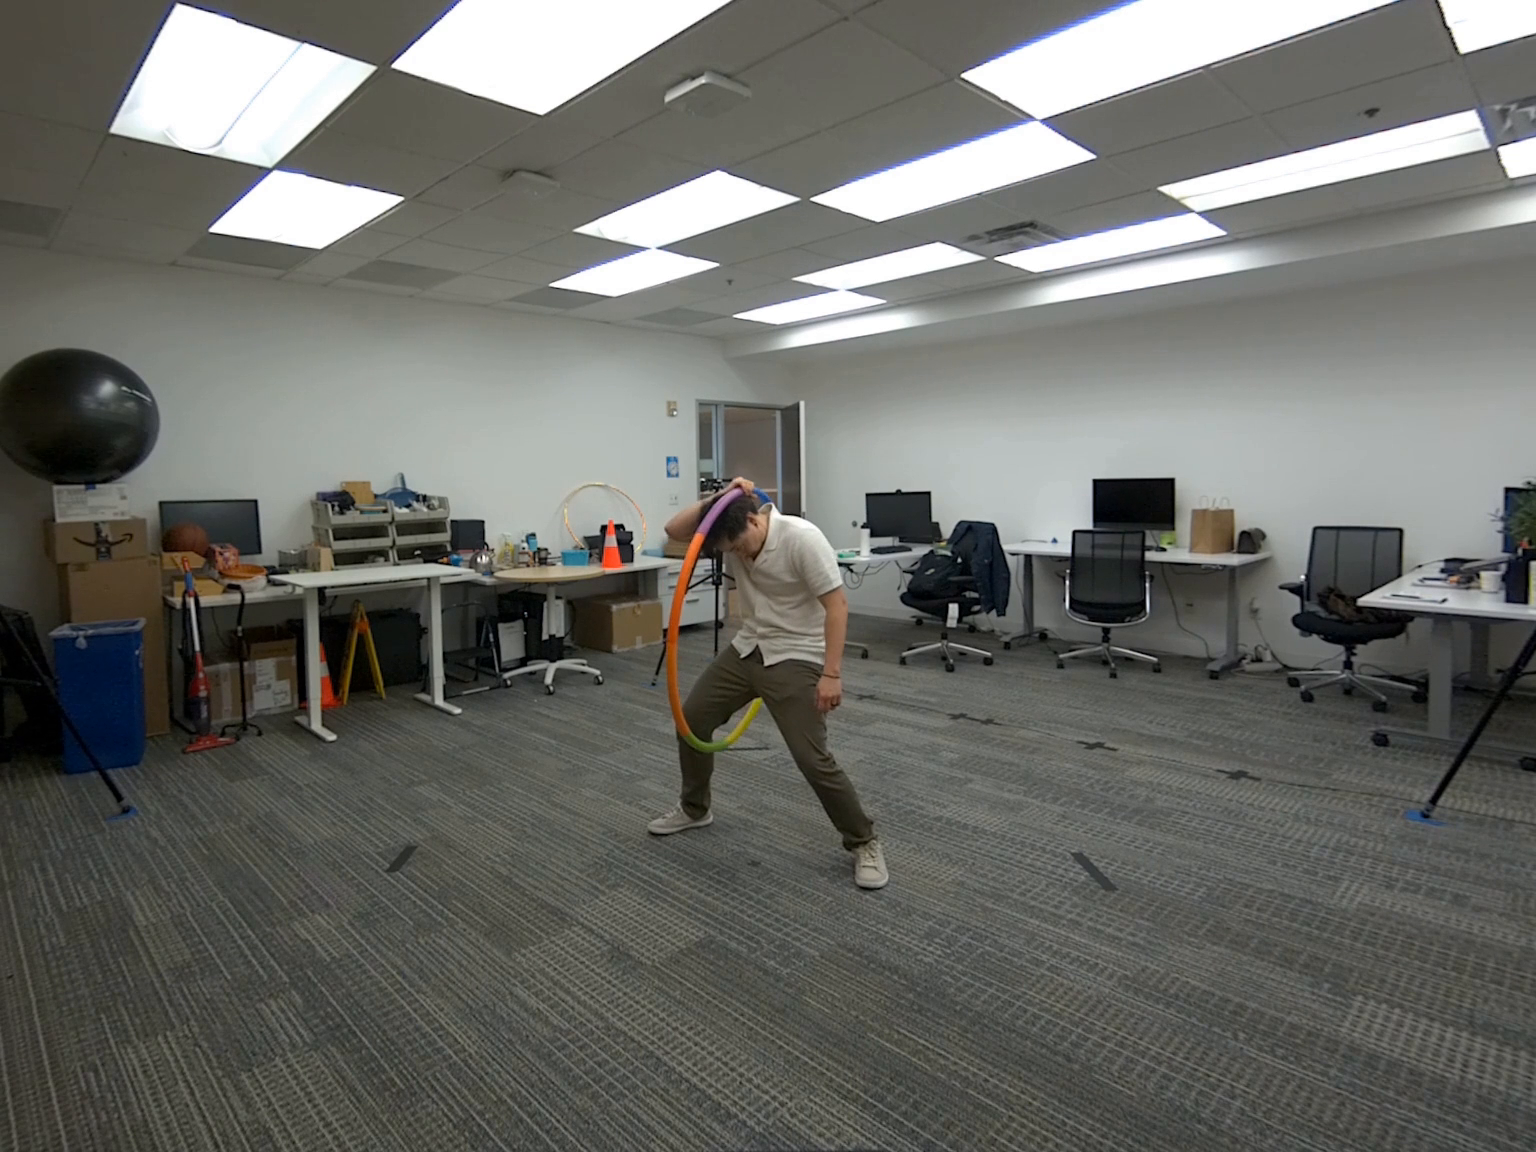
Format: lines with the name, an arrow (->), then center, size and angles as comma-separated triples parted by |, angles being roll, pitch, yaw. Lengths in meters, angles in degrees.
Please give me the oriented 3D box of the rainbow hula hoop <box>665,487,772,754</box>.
rainbow hula hoop -> -0.122, 0.151, 3.182 | 0.036, 0.973, 0.961 | 6, 7, 23
